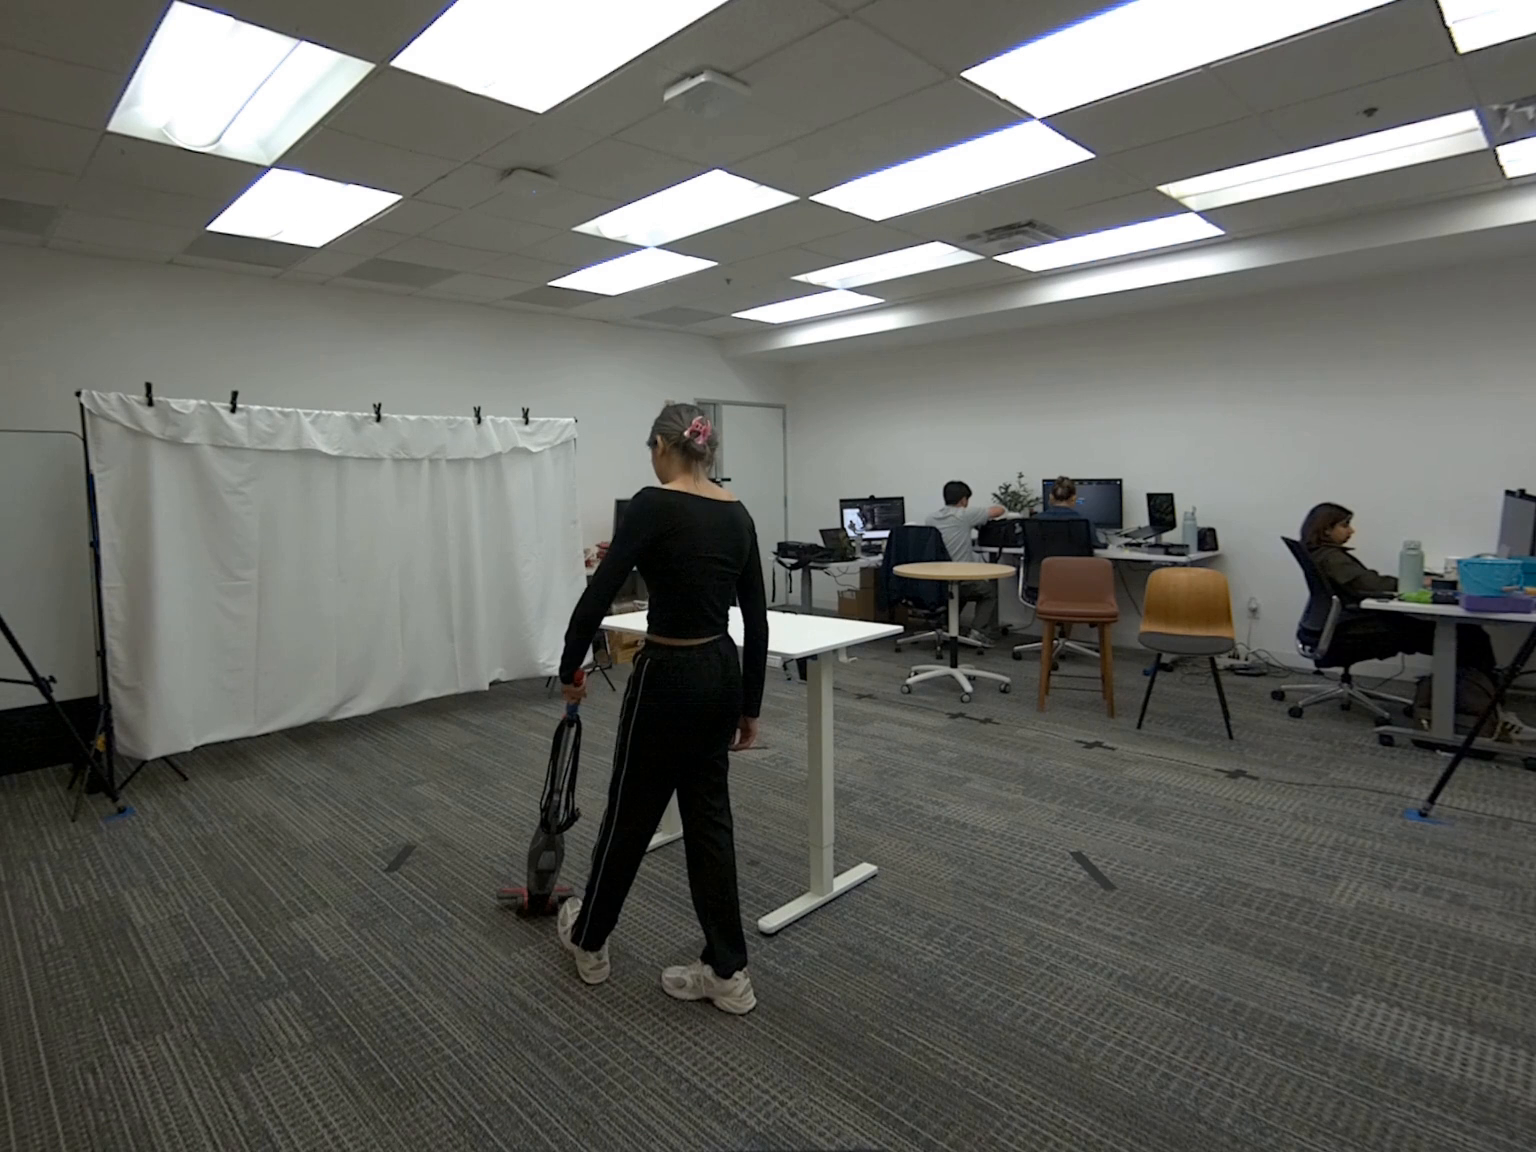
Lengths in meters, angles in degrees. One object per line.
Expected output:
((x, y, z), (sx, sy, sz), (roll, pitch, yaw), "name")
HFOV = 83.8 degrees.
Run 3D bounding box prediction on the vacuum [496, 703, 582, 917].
((-0.631, 0.681, 2.529), (0.247, 1.032, 0.149), (2, 38, -22), "vacuum")
